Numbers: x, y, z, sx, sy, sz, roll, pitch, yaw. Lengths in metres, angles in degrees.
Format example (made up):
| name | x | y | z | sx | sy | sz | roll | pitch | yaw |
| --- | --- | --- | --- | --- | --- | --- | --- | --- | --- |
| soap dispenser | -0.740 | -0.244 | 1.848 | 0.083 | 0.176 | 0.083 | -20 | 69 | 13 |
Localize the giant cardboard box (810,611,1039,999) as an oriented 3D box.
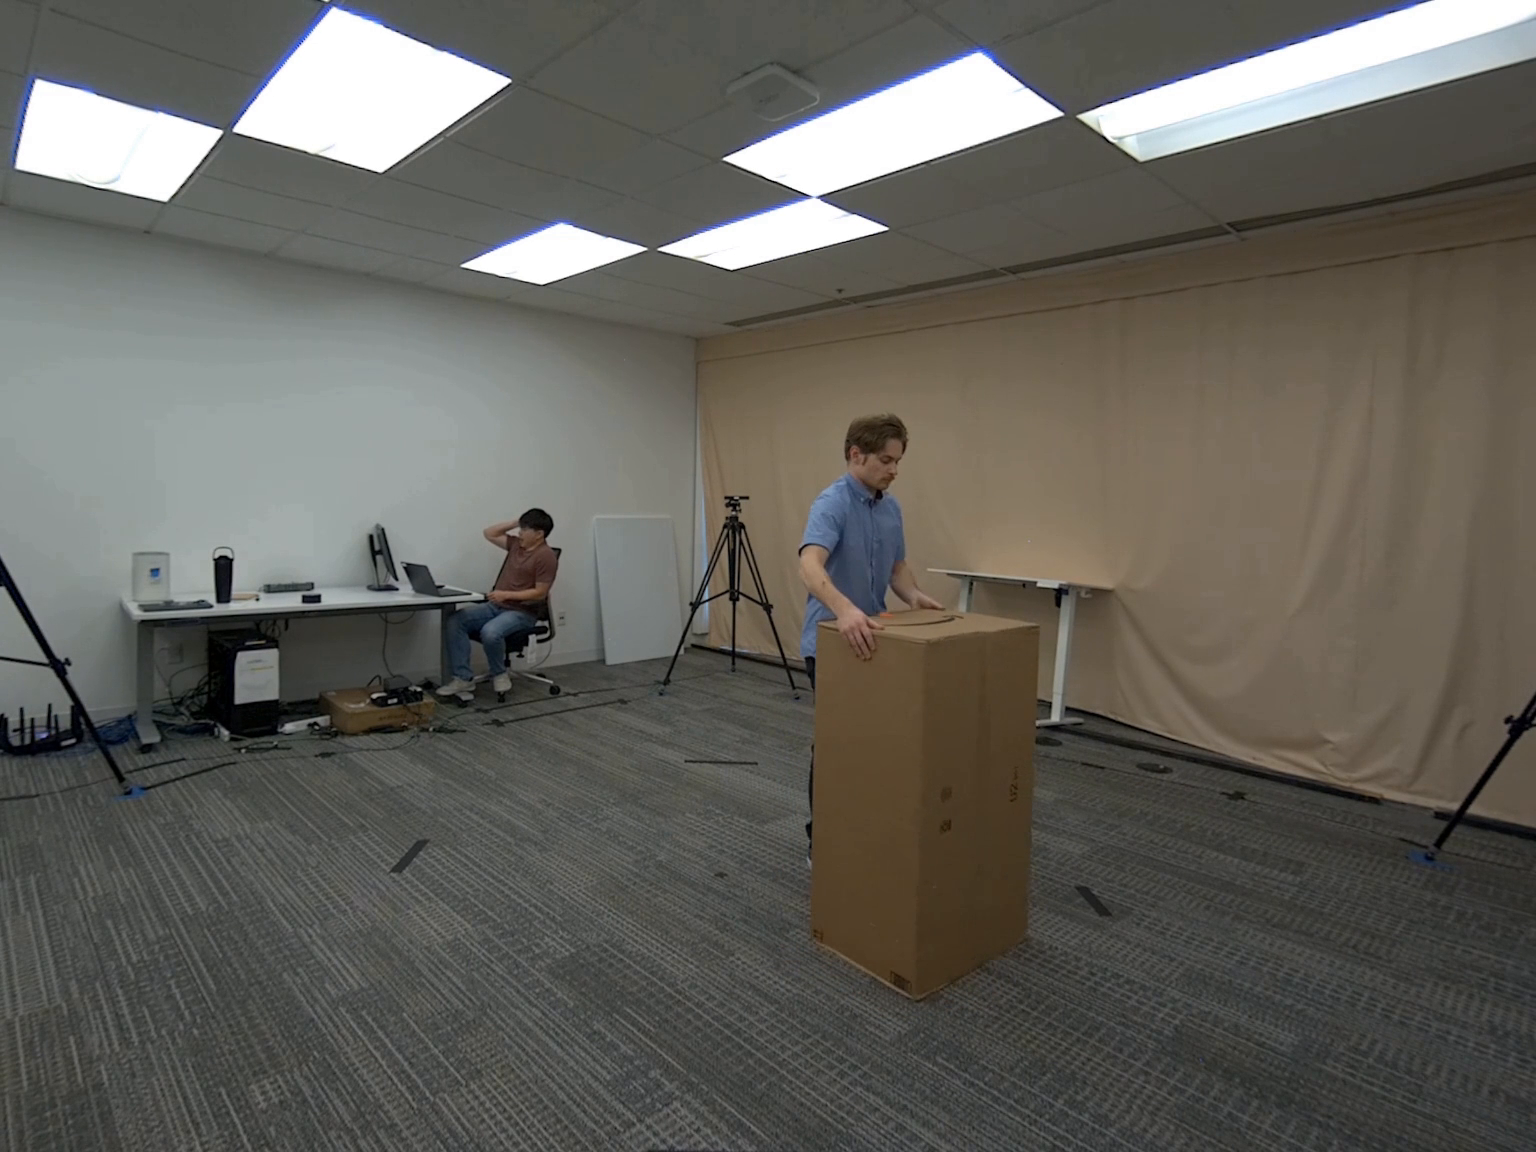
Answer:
| name | x | y | z | sx | sy | sz | roll | pitch | yaw |
| --- | --- | --- | --- | --- | --- | --- | --- | --- | --- |
| giant cardboard box | 0.488 | 0.655 | 2.651 | 0.564 | 1.023 | 0.437 | -2 | 5 | -40 |
